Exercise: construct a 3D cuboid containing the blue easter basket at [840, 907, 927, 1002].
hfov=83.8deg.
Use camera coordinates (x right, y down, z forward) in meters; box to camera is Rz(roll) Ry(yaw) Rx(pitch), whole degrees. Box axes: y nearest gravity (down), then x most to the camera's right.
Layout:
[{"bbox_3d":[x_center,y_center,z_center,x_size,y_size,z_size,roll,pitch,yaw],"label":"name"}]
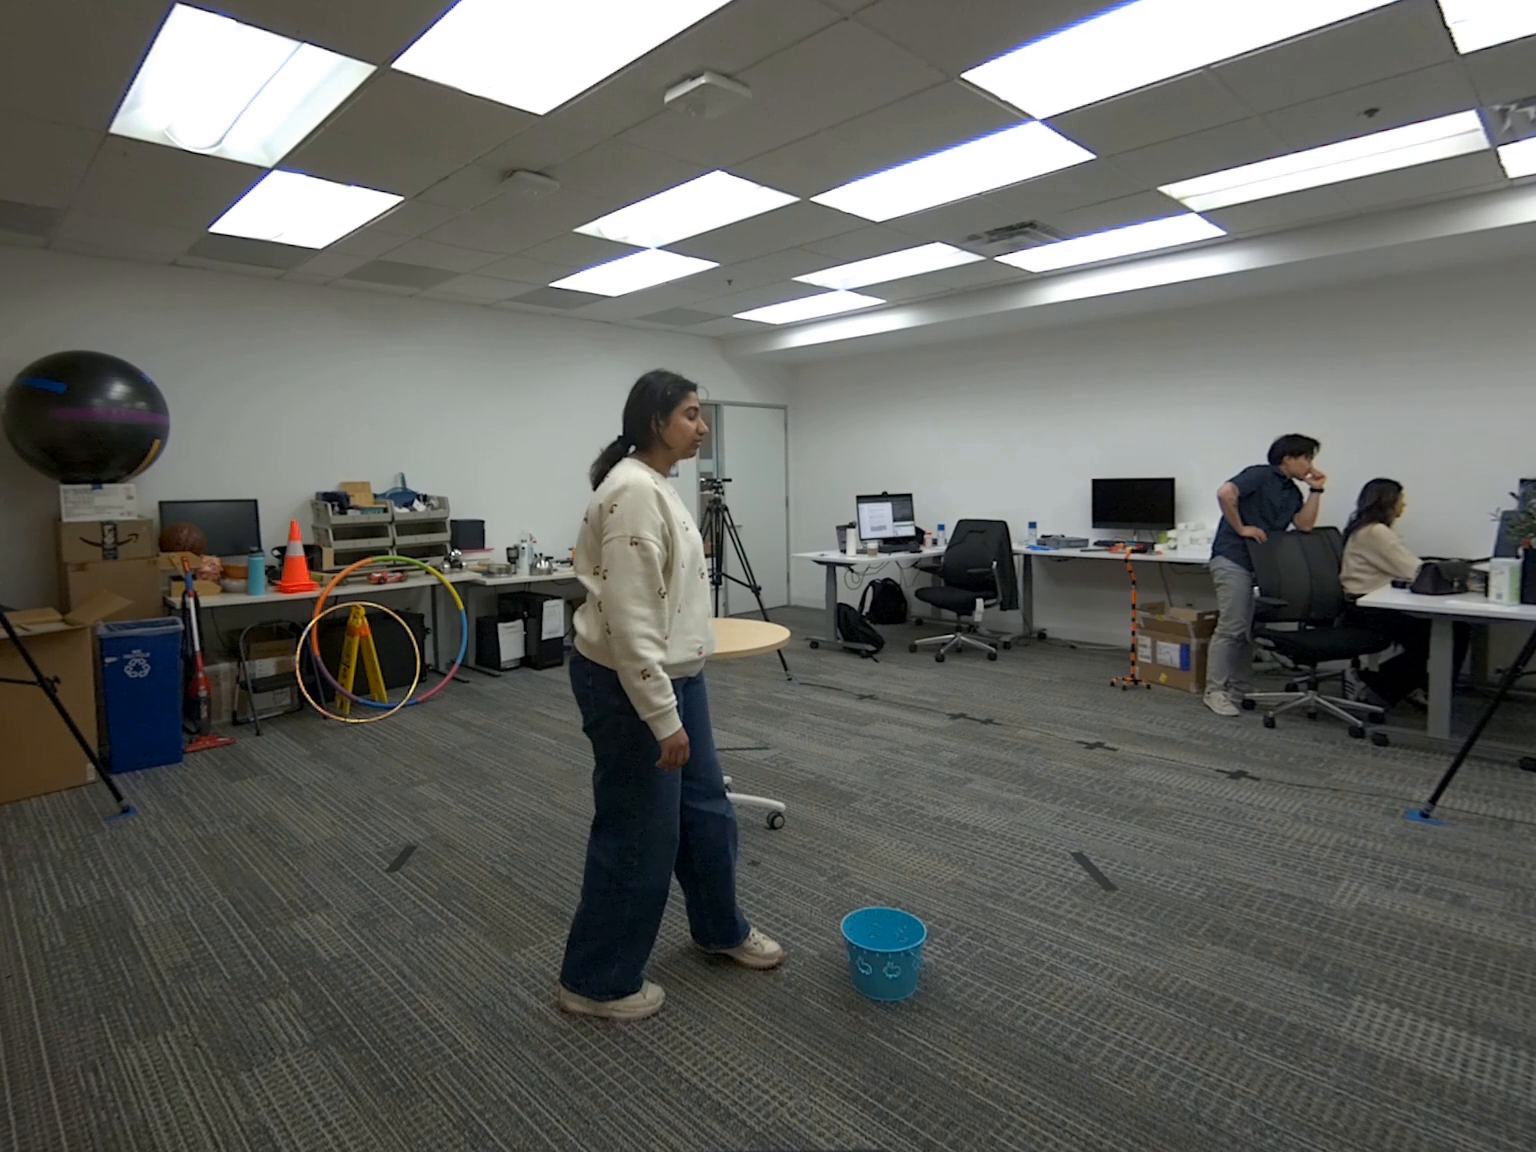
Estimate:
[{"bbox_3d":[0.323,1.043,2.361,0.243,0.155,0.244,-2,4,-2],"label":"blue easter basket"}]
